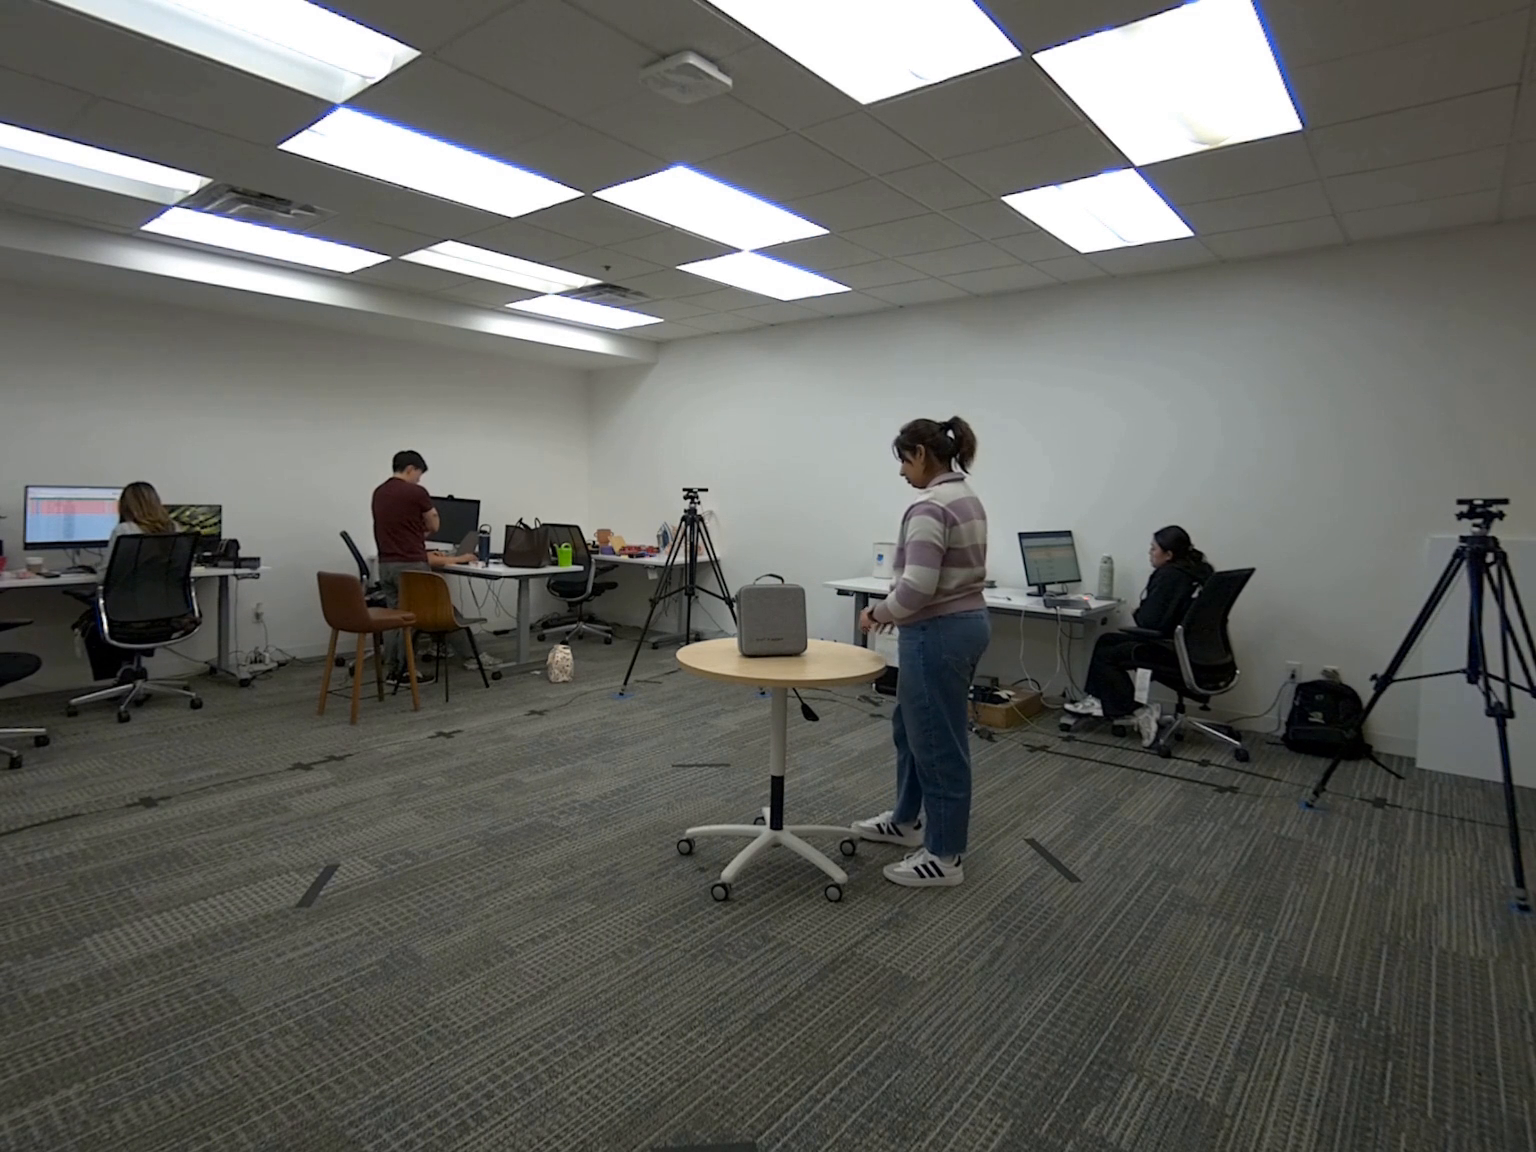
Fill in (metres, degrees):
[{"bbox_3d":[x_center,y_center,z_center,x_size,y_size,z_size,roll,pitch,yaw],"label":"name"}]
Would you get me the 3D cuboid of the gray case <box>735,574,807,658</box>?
[{"bbox_3d":[0.004,0.156,3.141,0.253,0.262,0.105,0,-7,-13],"label":"gray case"}]
